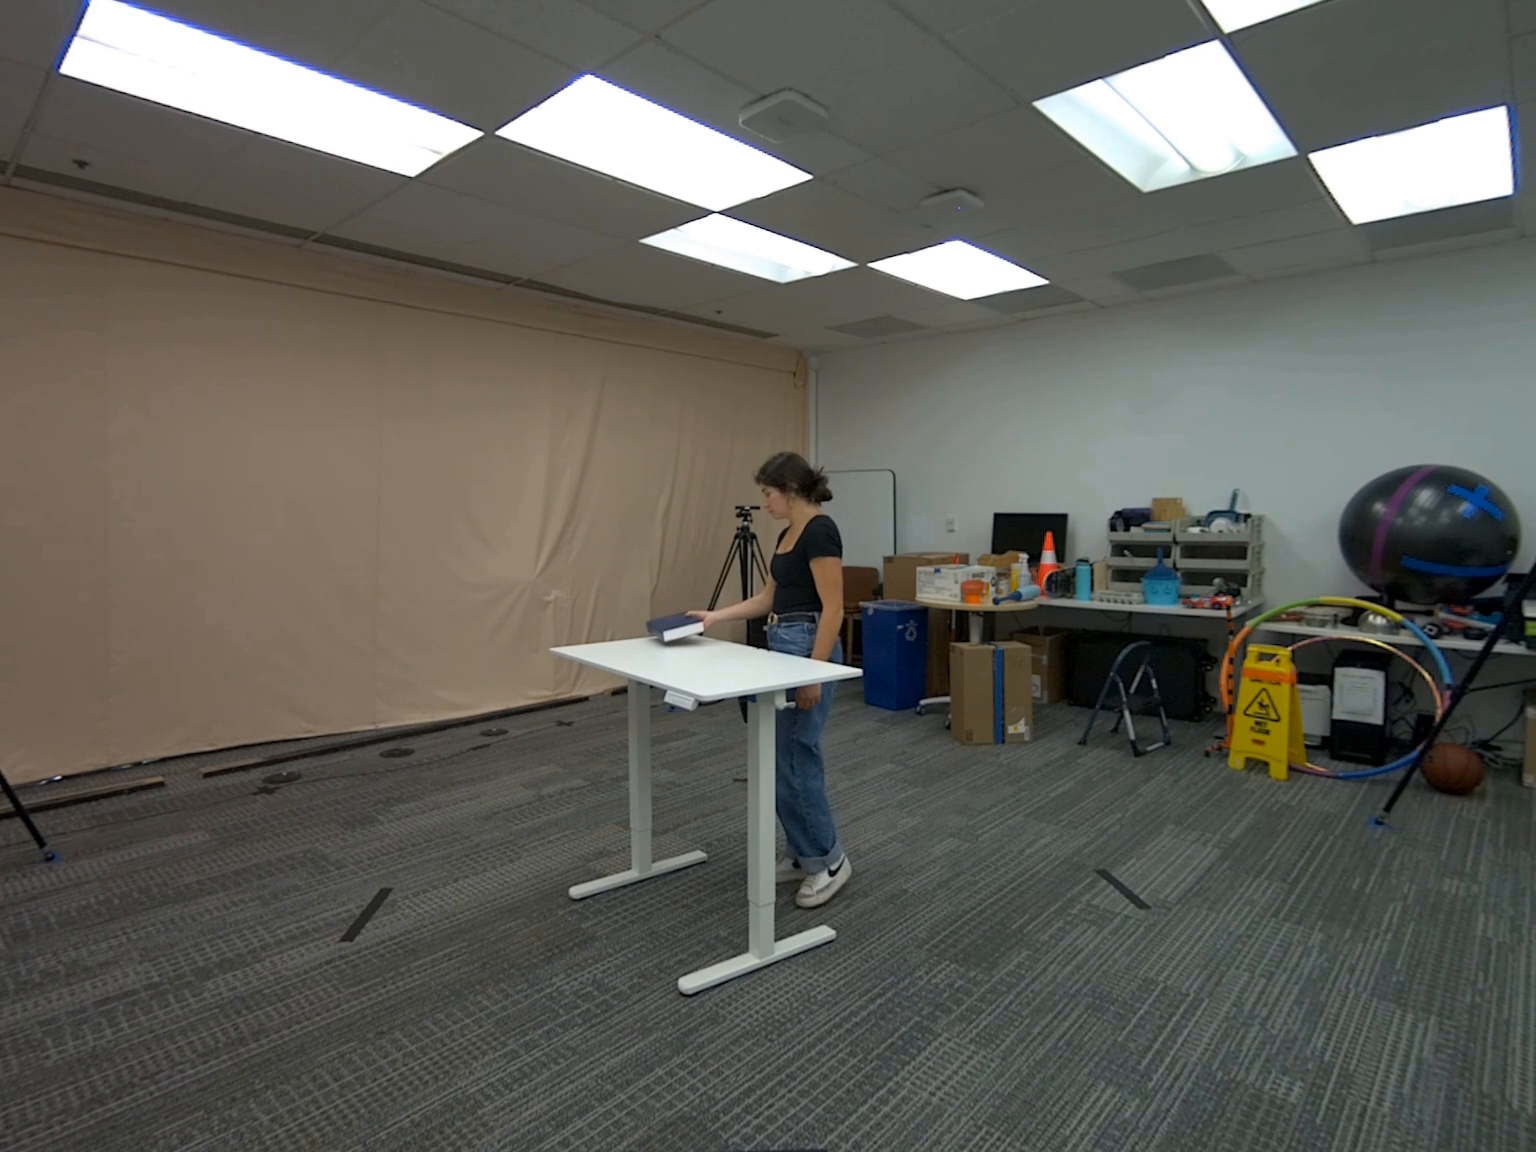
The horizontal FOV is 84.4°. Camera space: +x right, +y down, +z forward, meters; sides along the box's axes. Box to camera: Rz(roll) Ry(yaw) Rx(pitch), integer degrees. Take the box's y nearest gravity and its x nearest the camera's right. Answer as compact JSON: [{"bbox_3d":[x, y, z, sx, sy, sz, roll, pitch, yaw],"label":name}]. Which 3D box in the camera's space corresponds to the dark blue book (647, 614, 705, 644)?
[{"bbox_3d":[-0.359,0.195,3.181,0.161,0.045,0.250,-13,9,-15],"label":"dark blue book"}]
